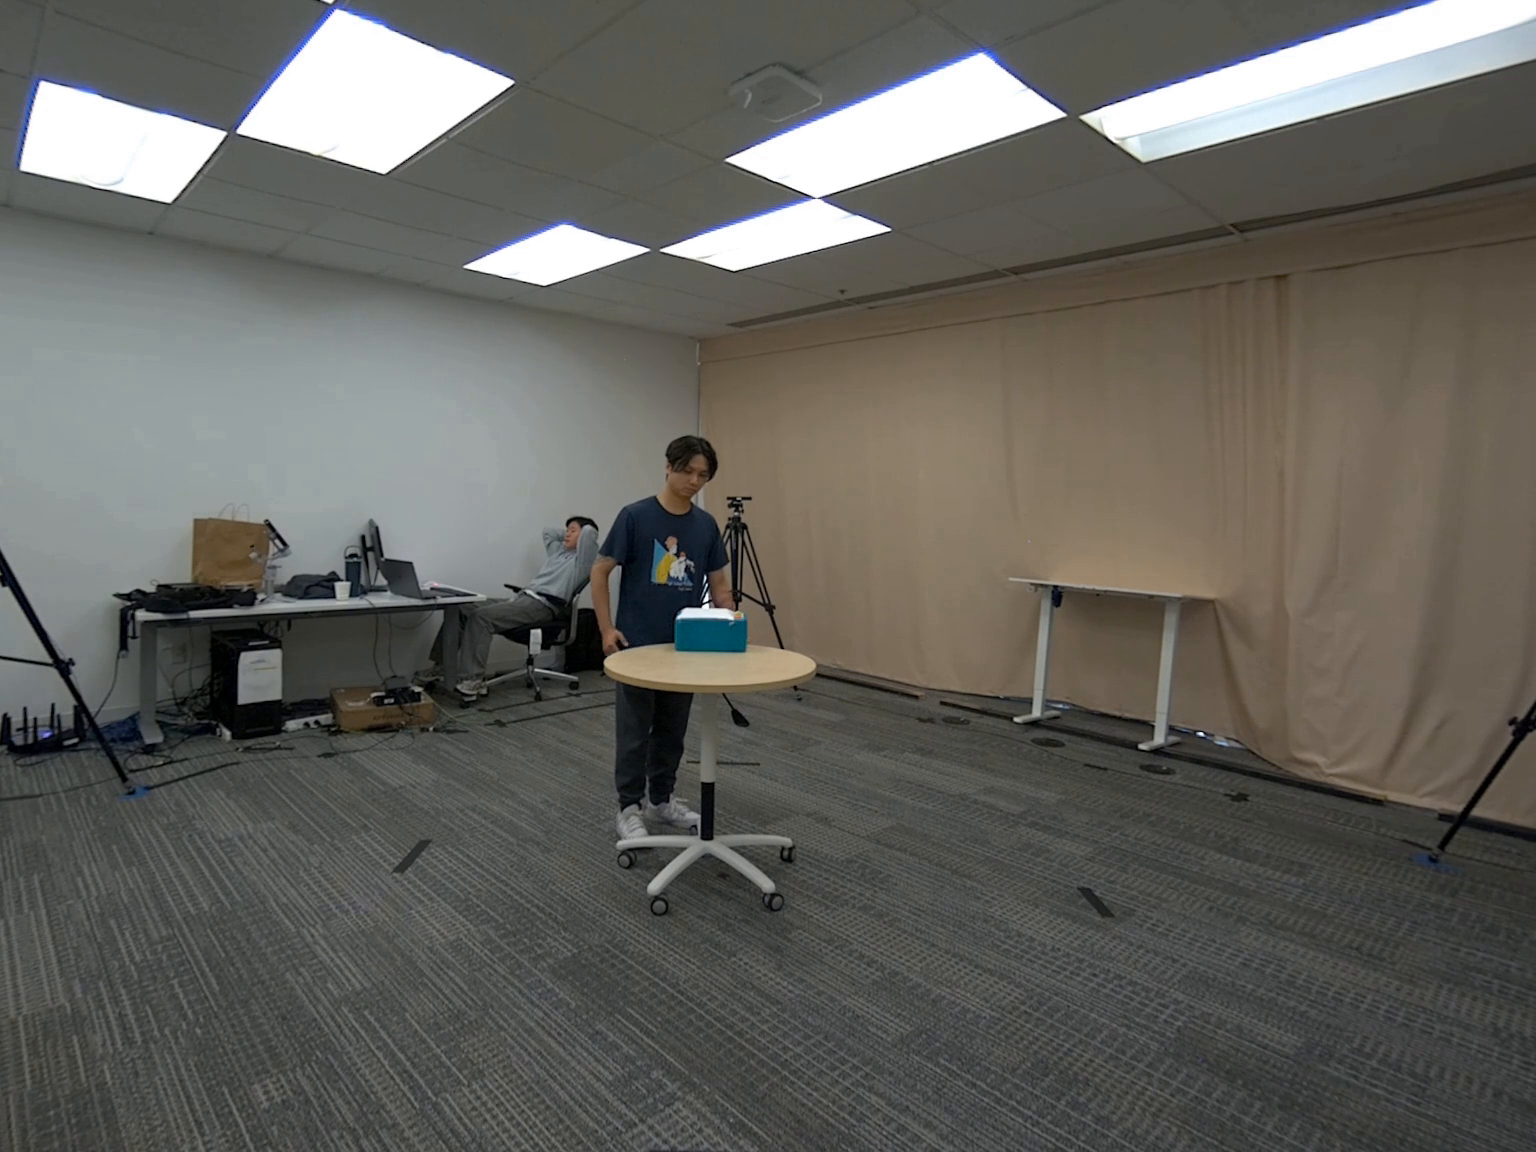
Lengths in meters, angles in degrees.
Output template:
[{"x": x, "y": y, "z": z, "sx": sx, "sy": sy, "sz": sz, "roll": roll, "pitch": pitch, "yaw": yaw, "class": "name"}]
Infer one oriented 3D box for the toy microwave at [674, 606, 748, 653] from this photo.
[{"x": -0.229, "y": 0.211, "z": 3.308, "sx": 0.287, "sy": 0.152, "sz": 0.184, "roll": 0, "pitch": 6, "yaw": 2, "class": "toy microwave"}]
